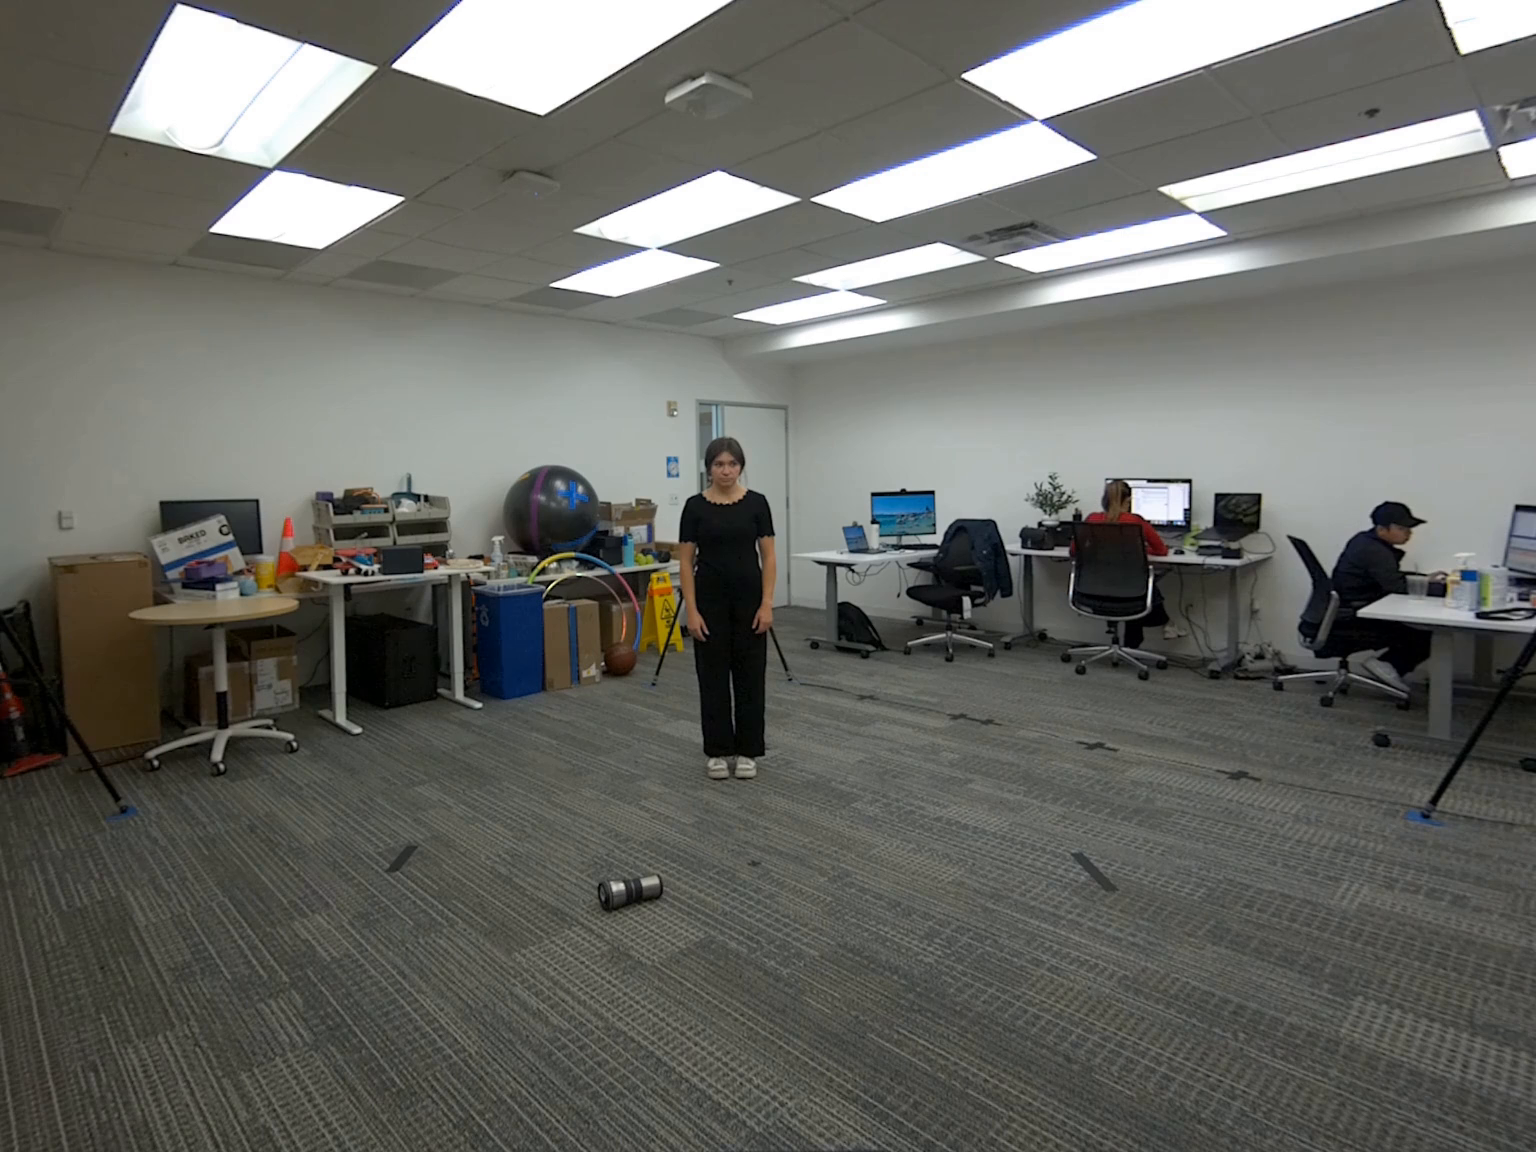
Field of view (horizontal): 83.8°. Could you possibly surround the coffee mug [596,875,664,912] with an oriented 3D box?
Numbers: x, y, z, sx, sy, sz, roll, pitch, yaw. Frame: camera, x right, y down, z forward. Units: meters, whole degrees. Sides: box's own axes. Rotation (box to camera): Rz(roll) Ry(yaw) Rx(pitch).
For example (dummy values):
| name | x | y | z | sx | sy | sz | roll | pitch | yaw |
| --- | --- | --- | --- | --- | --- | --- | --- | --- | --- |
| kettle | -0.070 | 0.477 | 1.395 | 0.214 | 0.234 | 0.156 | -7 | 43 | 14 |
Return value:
| name | x | y | z | sx | sy | sz | roll | pitch | yaw |
| --- | --- | --- | --- | --- | --- | --- | --- | --- | --- |
| coffee mug | -0.460 | 1.035 | 2.847 | 0.198 | 0.087 | 0.126 | -2 | 18 | -29 |
